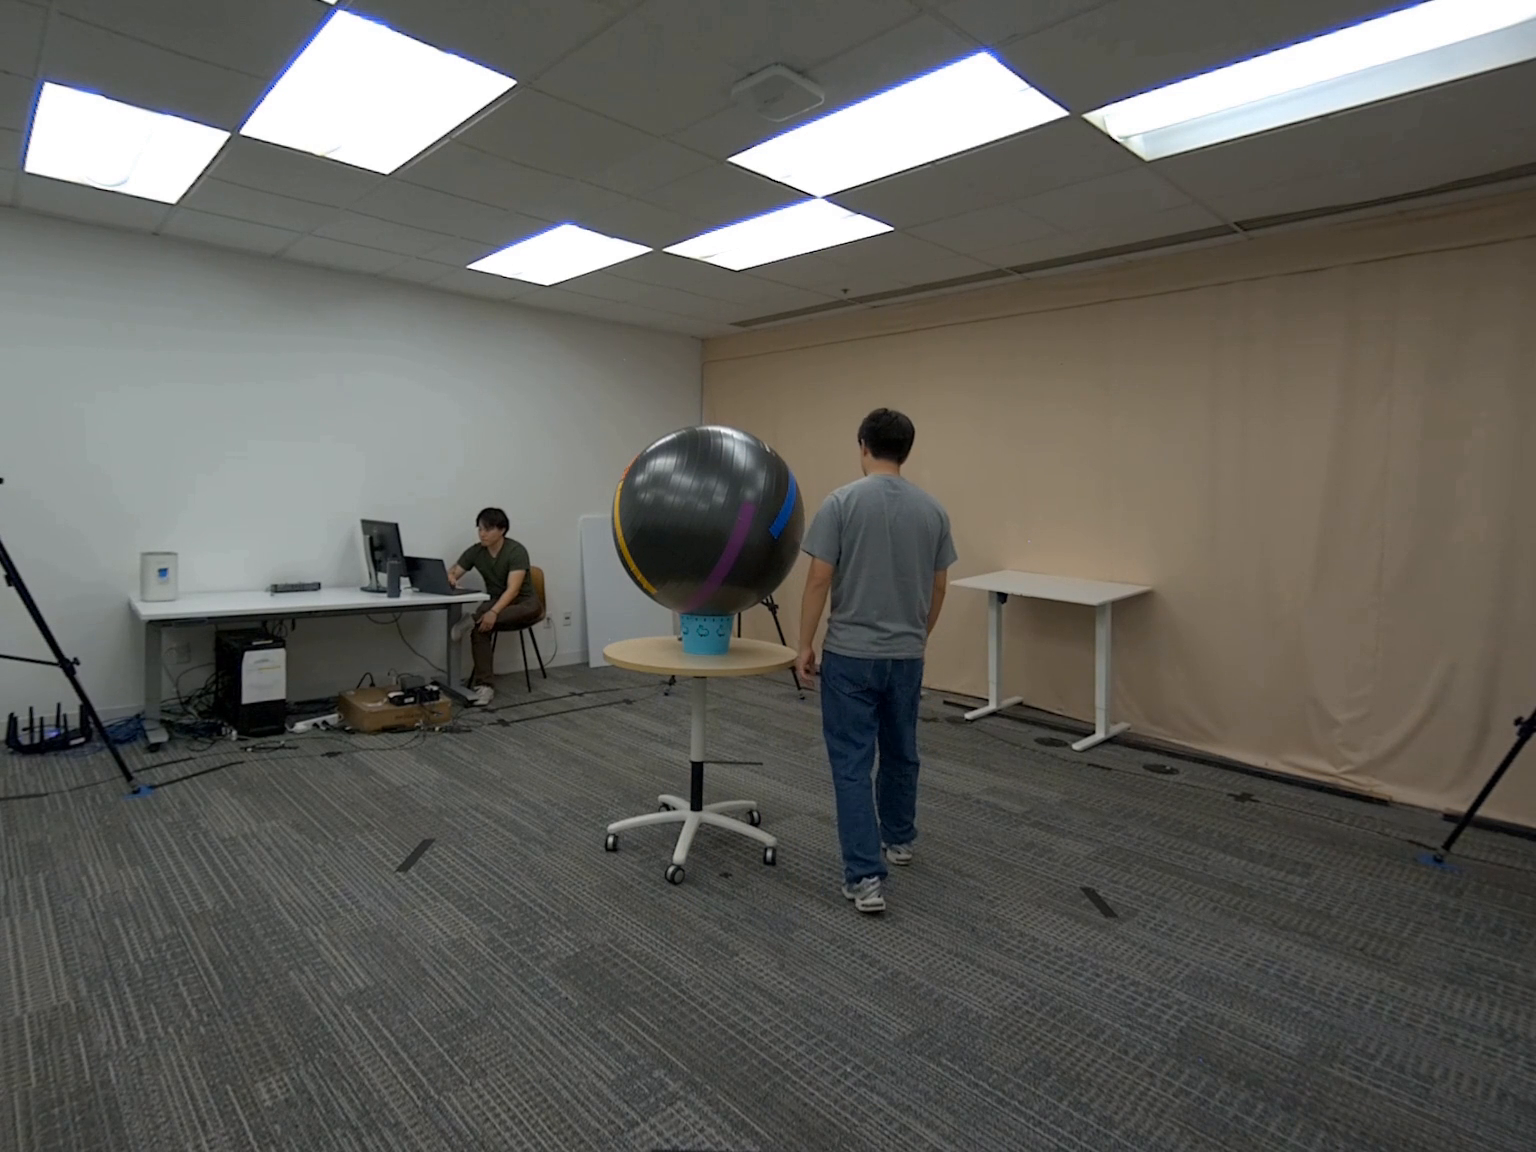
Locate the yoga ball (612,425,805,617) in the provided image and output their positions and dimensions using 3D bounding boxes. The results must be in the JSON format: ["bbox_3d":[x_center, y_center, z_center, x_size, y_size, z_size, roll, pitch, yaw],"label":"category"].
[{"bbox_3d":[-0.244,-0.215,3.332,0.757,0.756,0.761,1,4,-1],"label":"yoga ball"}]
